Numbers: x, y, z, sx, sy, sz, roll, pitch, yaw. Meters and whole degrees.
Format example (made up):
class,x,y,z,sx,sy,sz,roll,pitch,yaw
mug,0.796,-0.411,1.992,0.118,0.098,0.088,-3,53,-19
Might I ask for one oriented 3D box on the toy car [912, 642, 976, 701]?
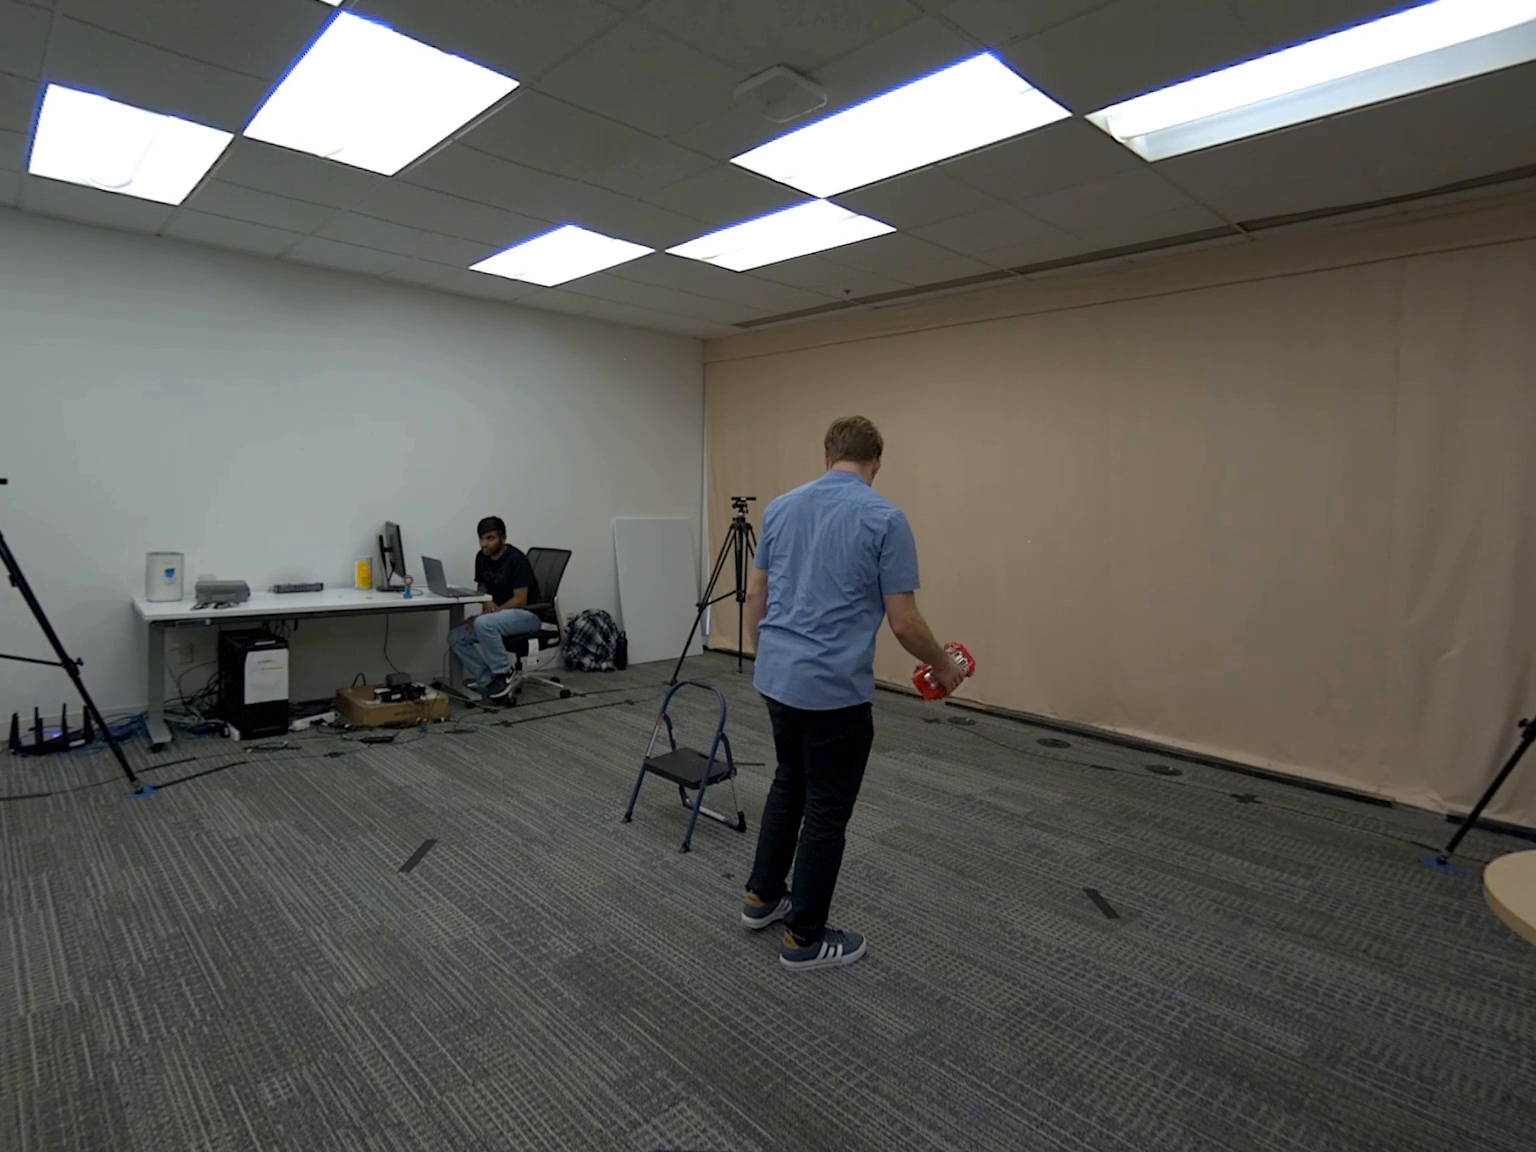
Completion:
class,x,y,z,sx,sy,sz,roll,pitch,yaw
toy car,0.564,0.319,2.692,0.251,0.132,0.083,-26,-14,-37
